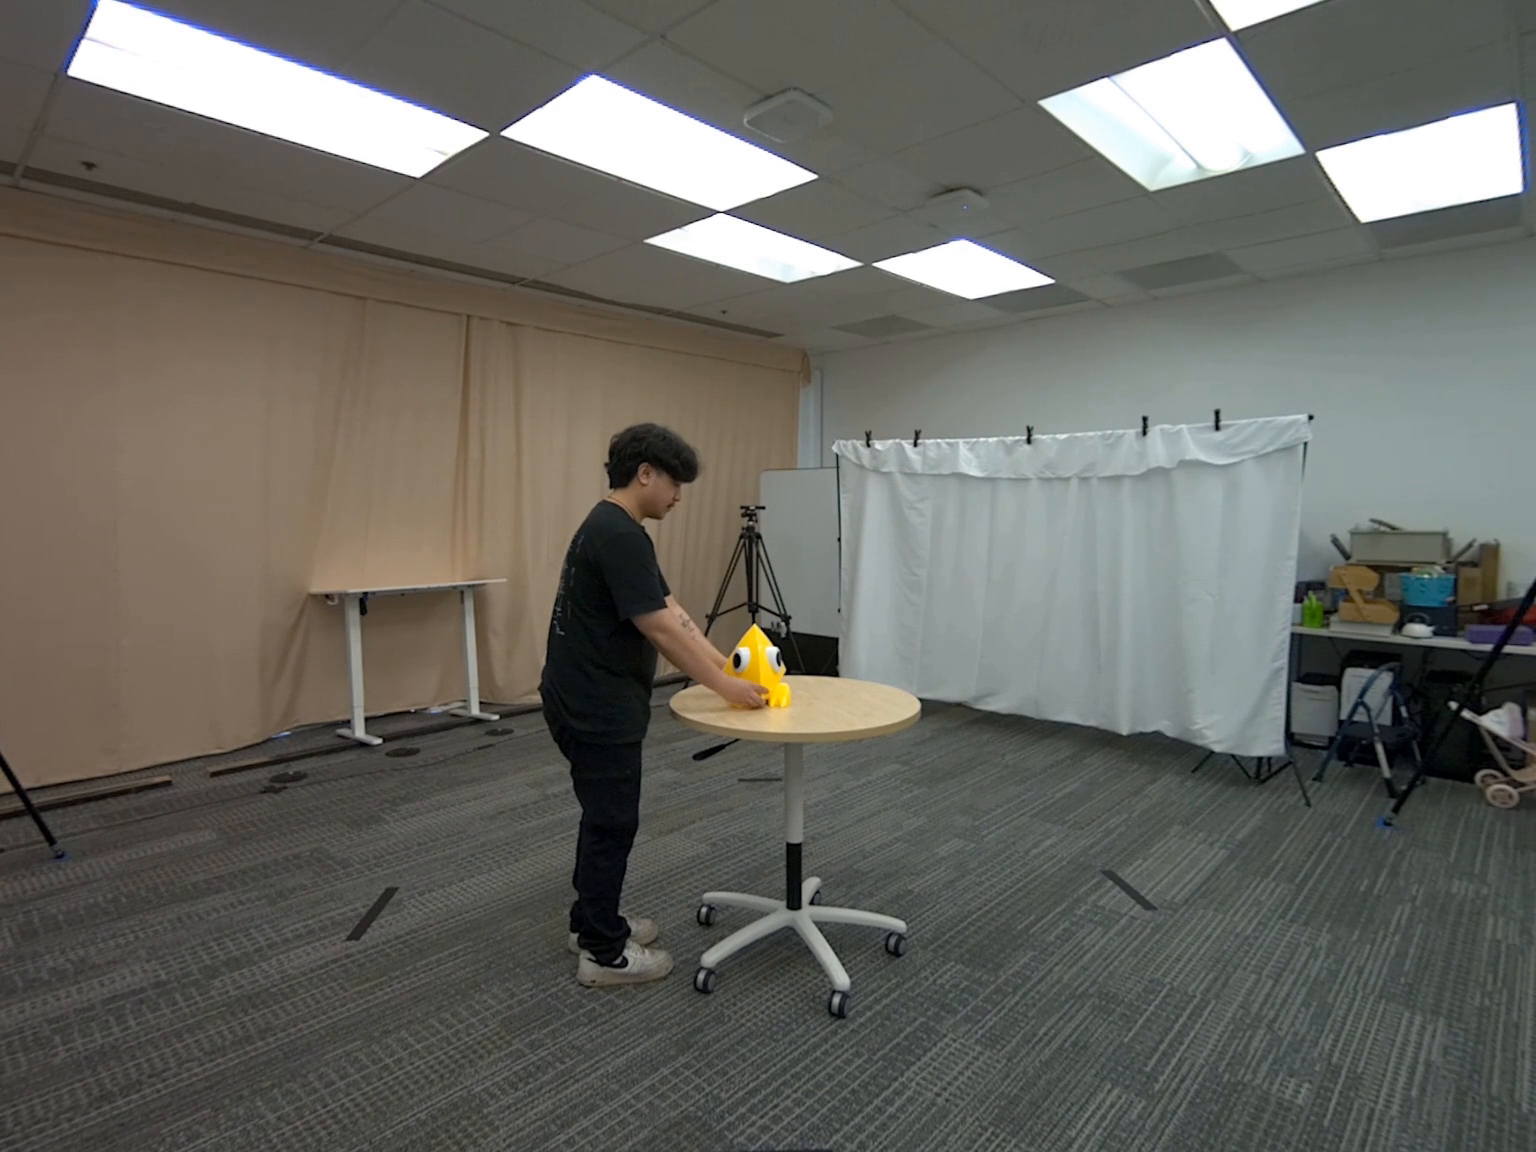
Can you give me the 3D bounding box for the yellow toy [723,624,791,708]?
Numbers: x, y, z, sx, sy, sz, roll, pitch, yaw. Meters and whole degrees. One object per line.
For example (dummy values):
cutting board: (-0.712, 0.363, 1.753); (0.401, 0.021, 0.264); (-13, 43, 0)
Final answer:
yellow toy: (-0.023, 0.267, 2.580); (0.203, 0.230, 0.194); (1, 2, -7)
